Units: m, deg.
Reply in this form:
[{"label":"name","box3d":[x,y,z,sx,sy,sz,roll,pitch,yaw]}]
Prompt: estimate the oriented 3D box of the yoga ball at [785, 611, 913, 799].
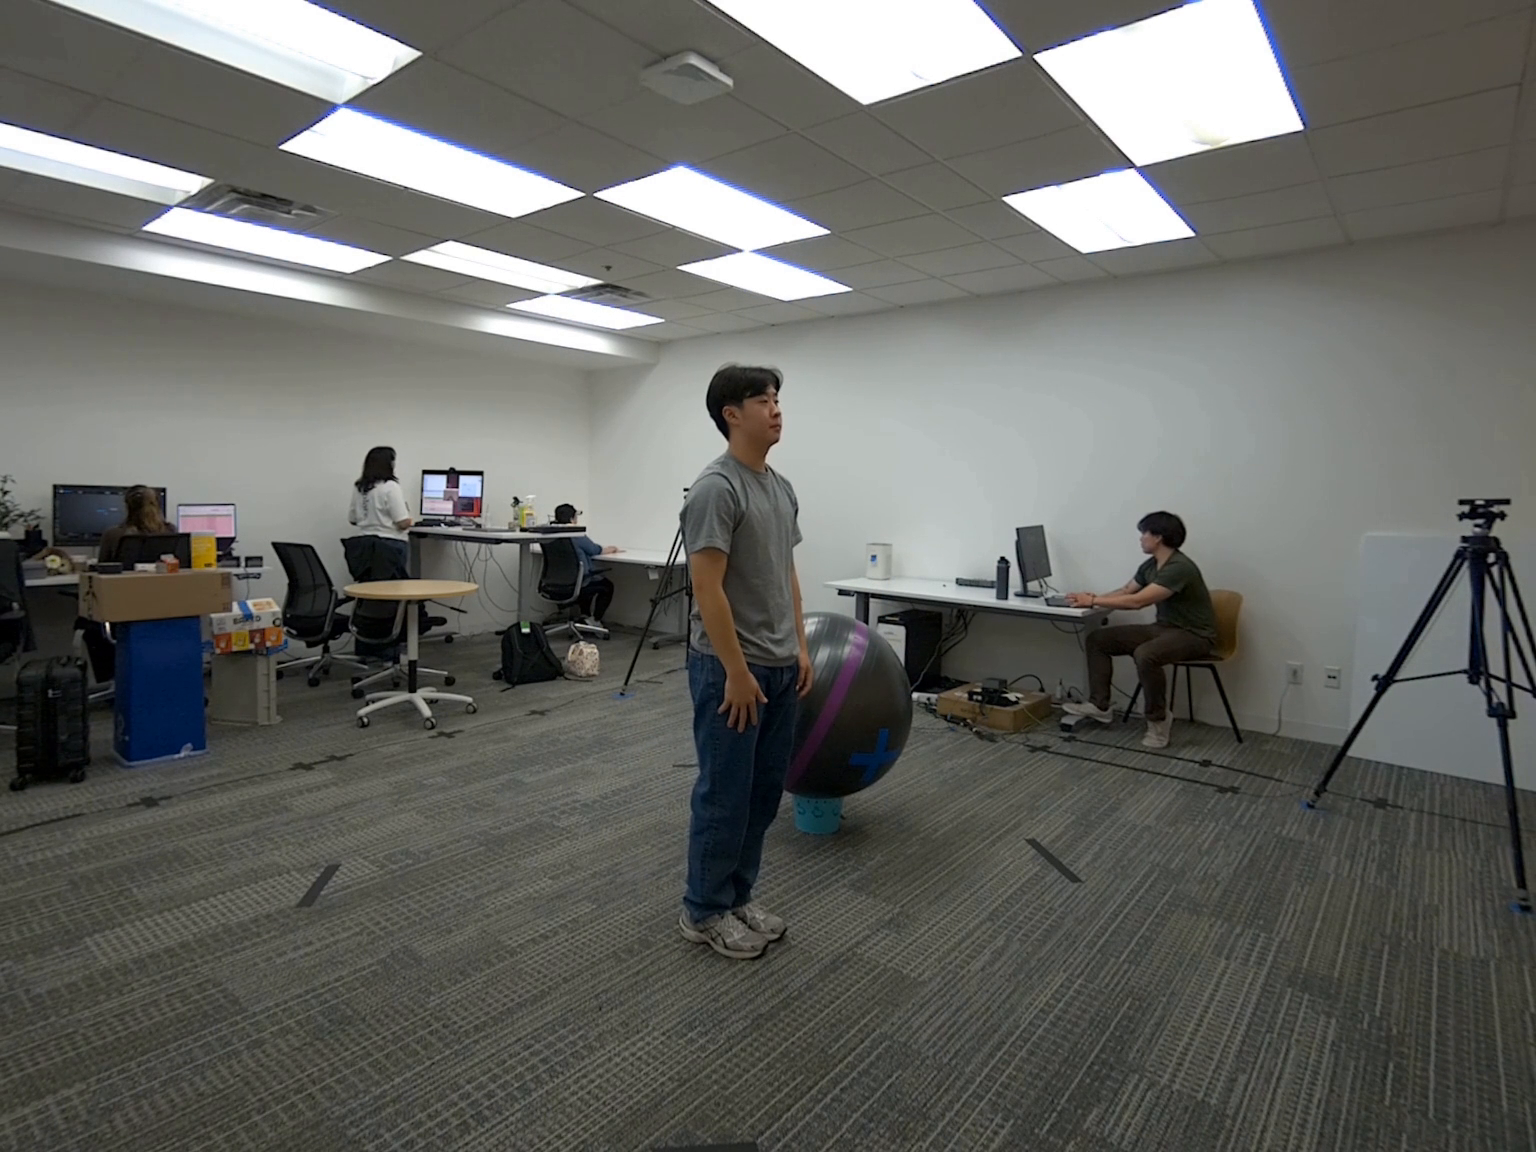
[{"label":"yoga ball","box3d":[0.207,0.527,3.524,0.757,0.755,0.762,1,4,-2]}]
